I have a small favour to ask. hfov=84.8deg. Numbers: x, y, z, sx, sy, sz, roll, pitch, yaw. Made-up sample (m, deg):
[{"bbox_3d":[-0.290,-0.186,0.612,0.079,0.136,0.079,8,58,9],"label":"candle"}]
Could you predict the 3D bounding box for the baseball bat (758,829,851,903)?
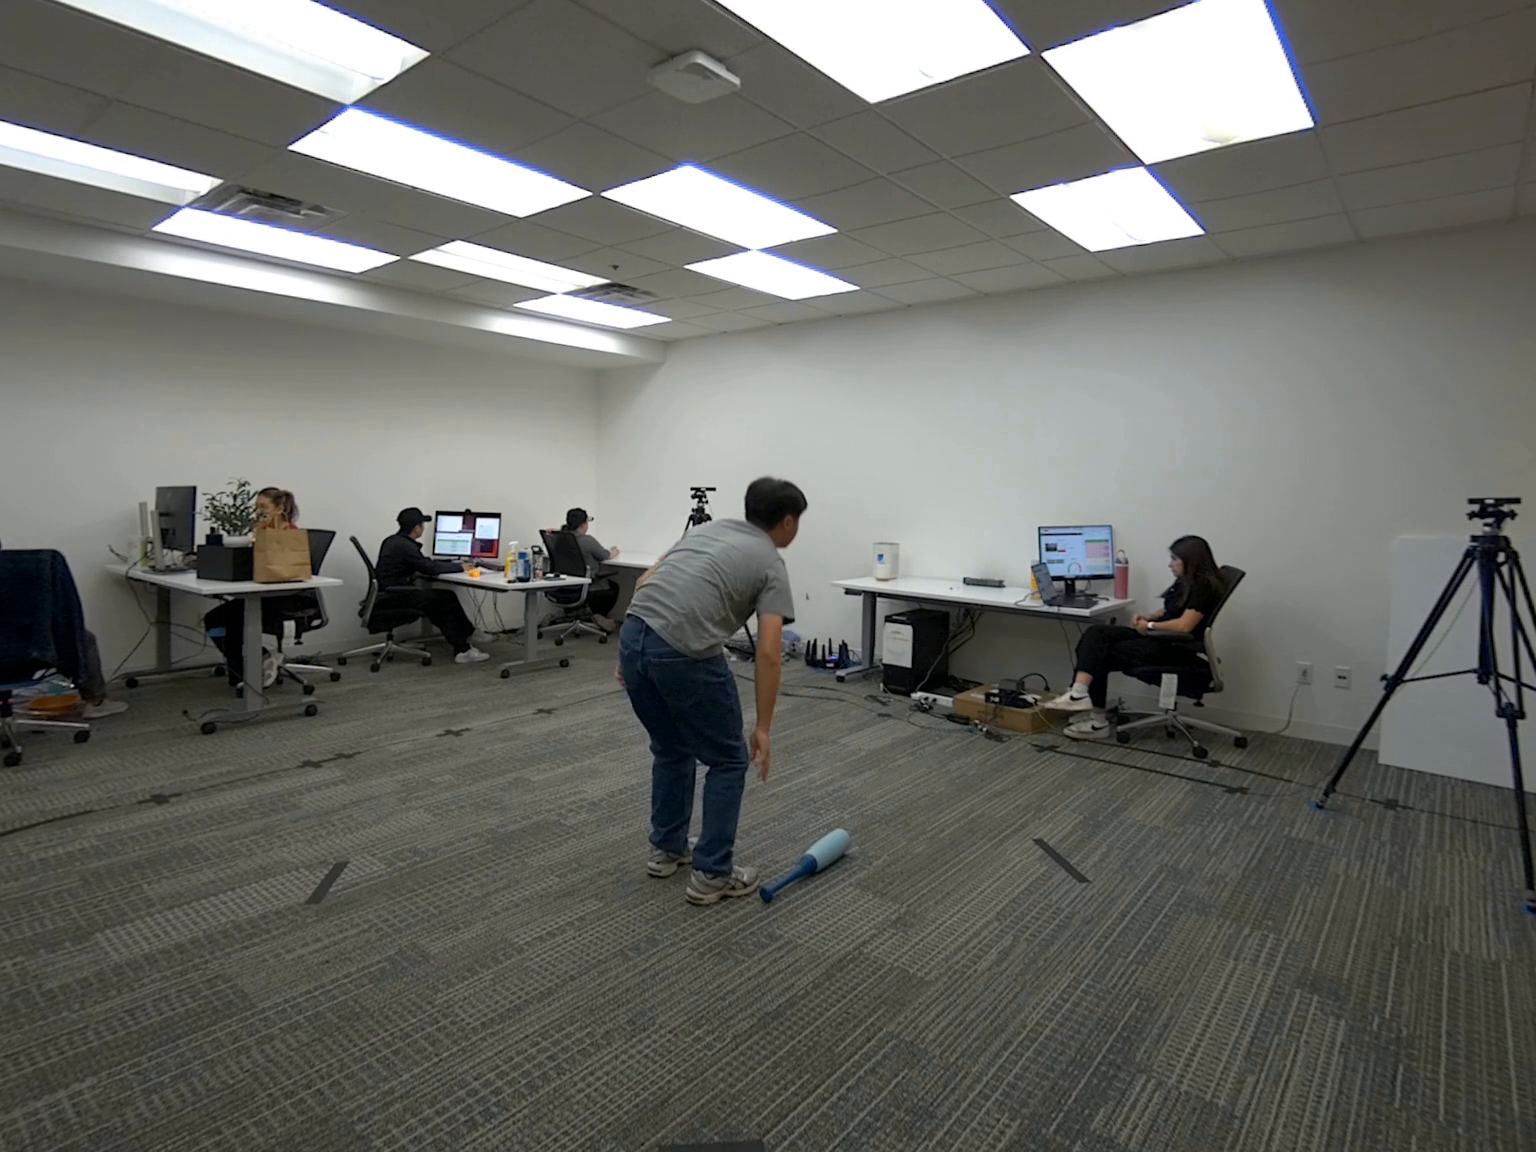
[{"bbox_3d":[0.129,1.041,3.063,0.092,0.088,0.529,4,8,35],"label":"baseball bat"}]
